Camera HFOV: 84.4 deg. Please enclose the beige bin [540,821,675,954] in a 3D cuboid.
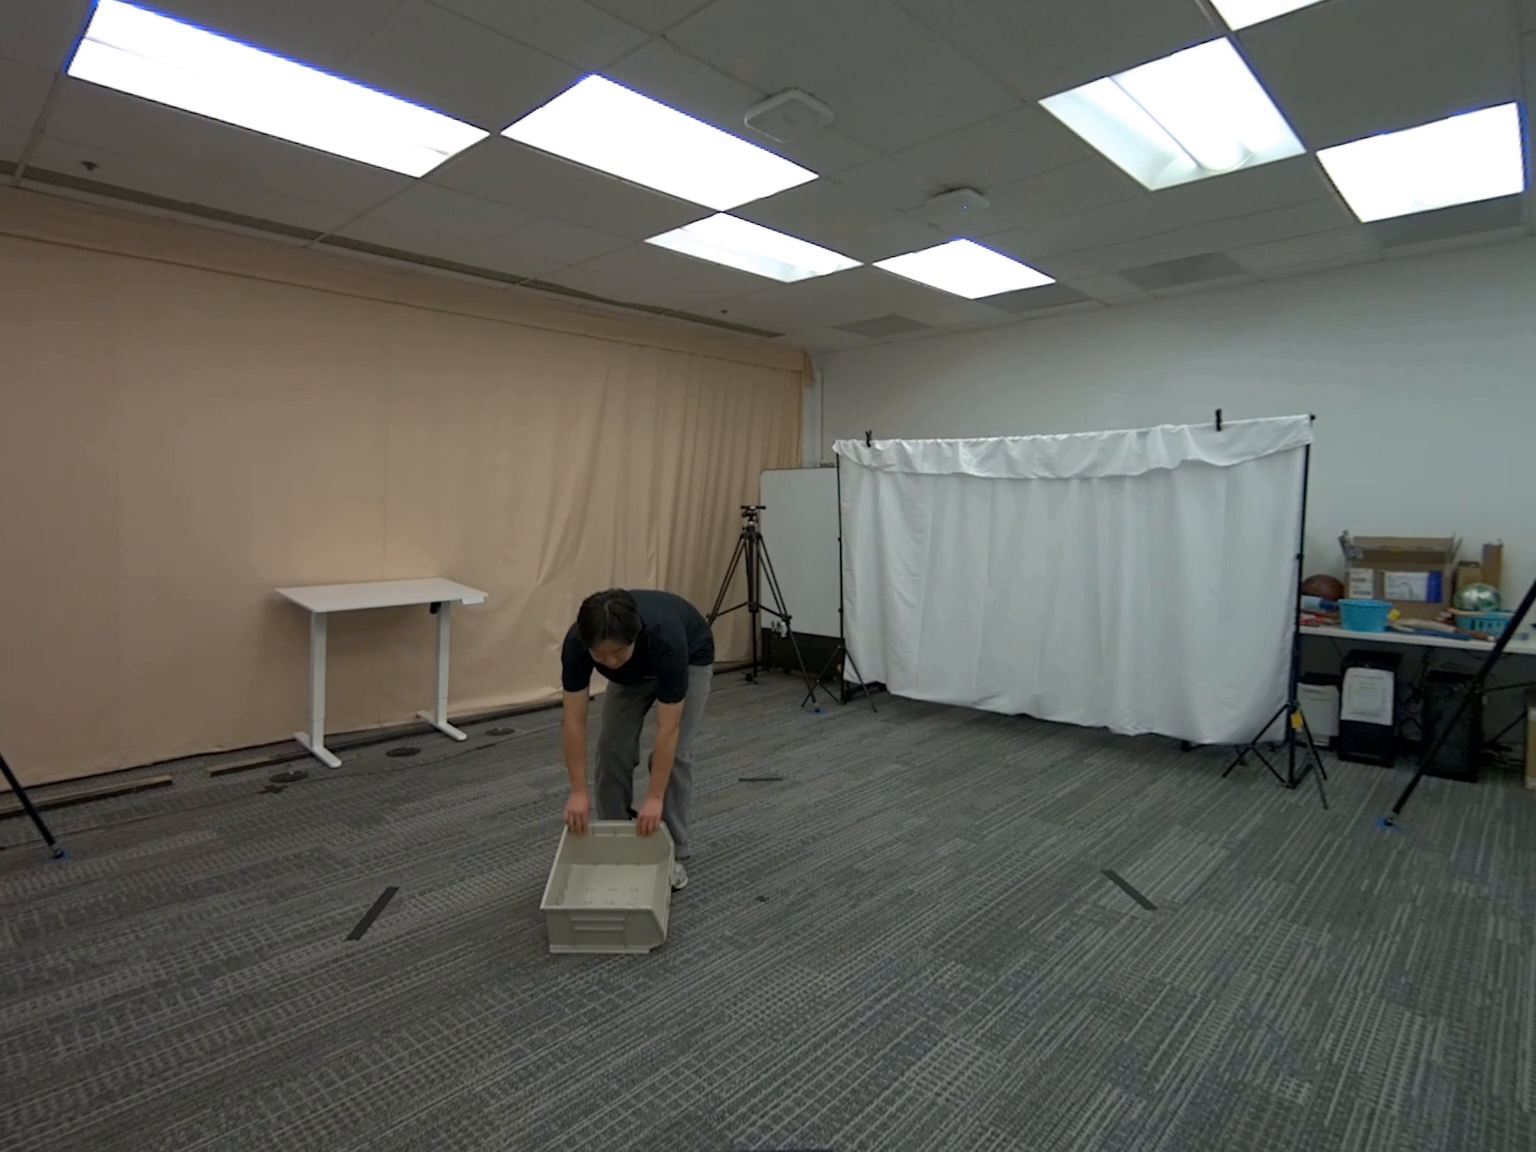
[{"bbox_3d":[-0.512,1.028,2.780,0.378,0.187,0.427,-2,19,0],"label":"beige bin"}]
